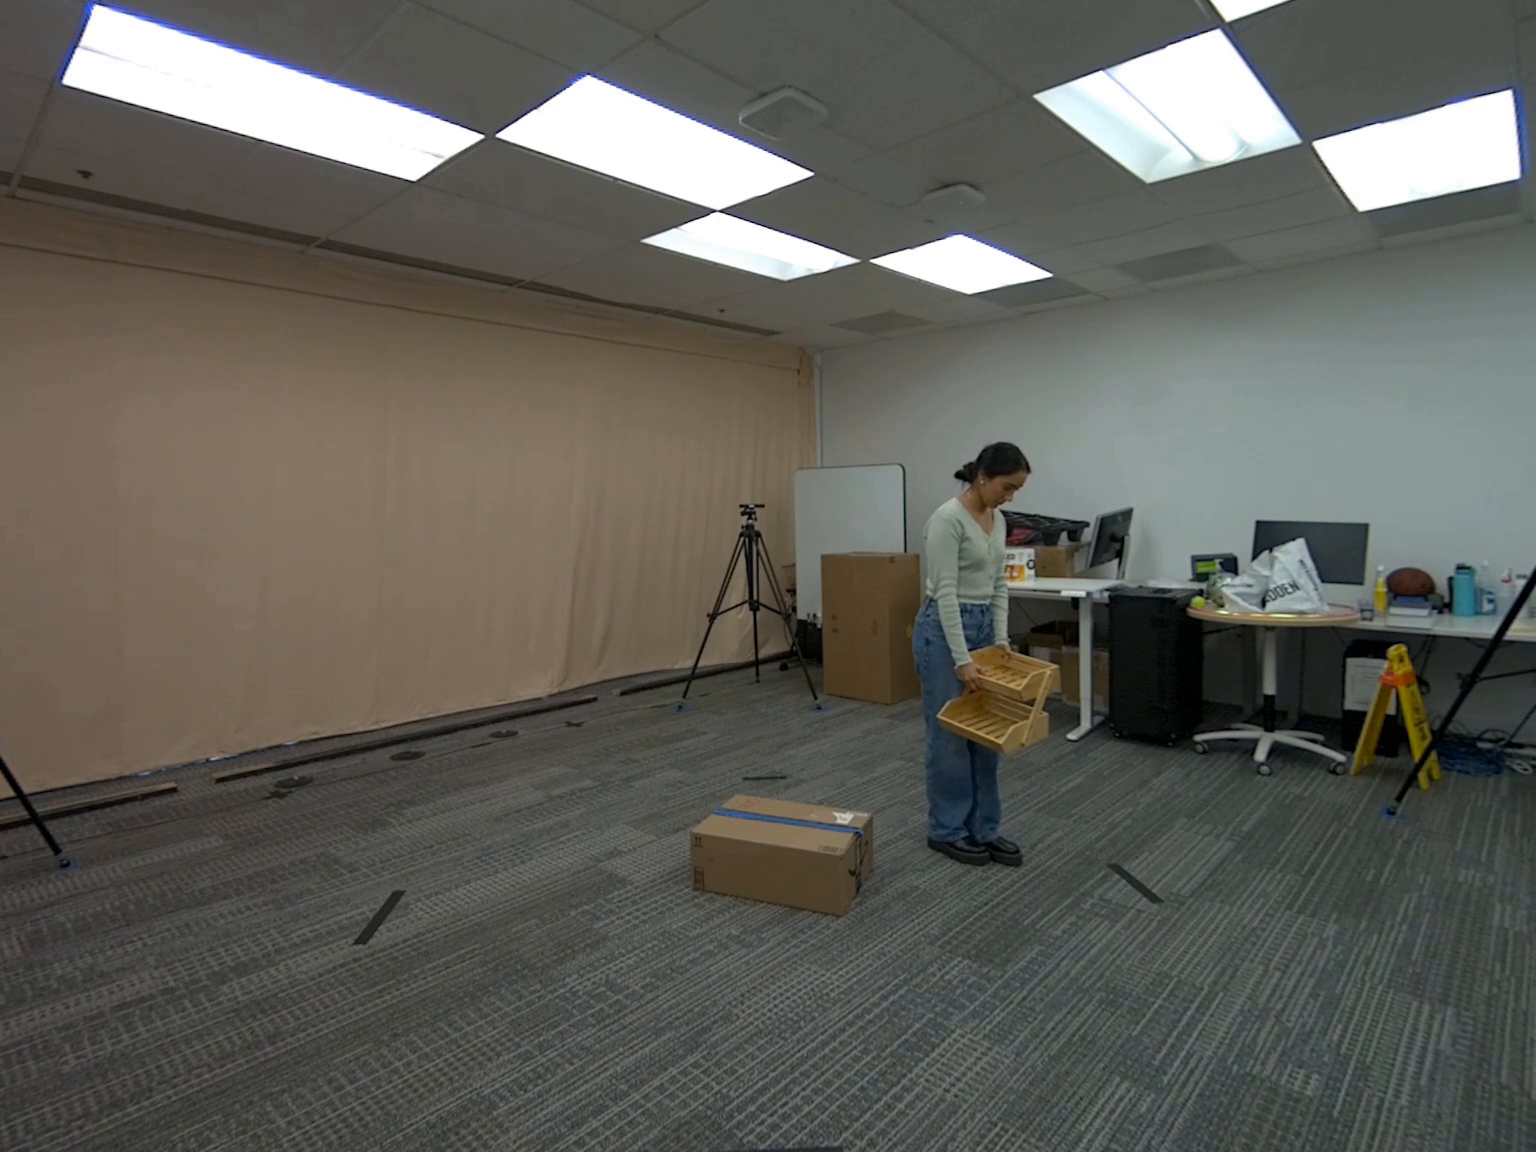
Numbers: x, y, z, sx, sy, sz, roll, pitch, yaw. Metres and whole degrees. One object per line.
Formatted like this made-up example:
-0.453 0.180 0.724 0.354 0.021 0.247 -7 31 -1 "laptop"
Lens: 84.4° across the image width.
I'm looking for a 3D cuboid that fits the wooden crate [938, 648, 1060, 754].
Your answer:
0.832 0.438 3.083 0.294 0.271 0.335 -10 15 -31 "wooden crate"
